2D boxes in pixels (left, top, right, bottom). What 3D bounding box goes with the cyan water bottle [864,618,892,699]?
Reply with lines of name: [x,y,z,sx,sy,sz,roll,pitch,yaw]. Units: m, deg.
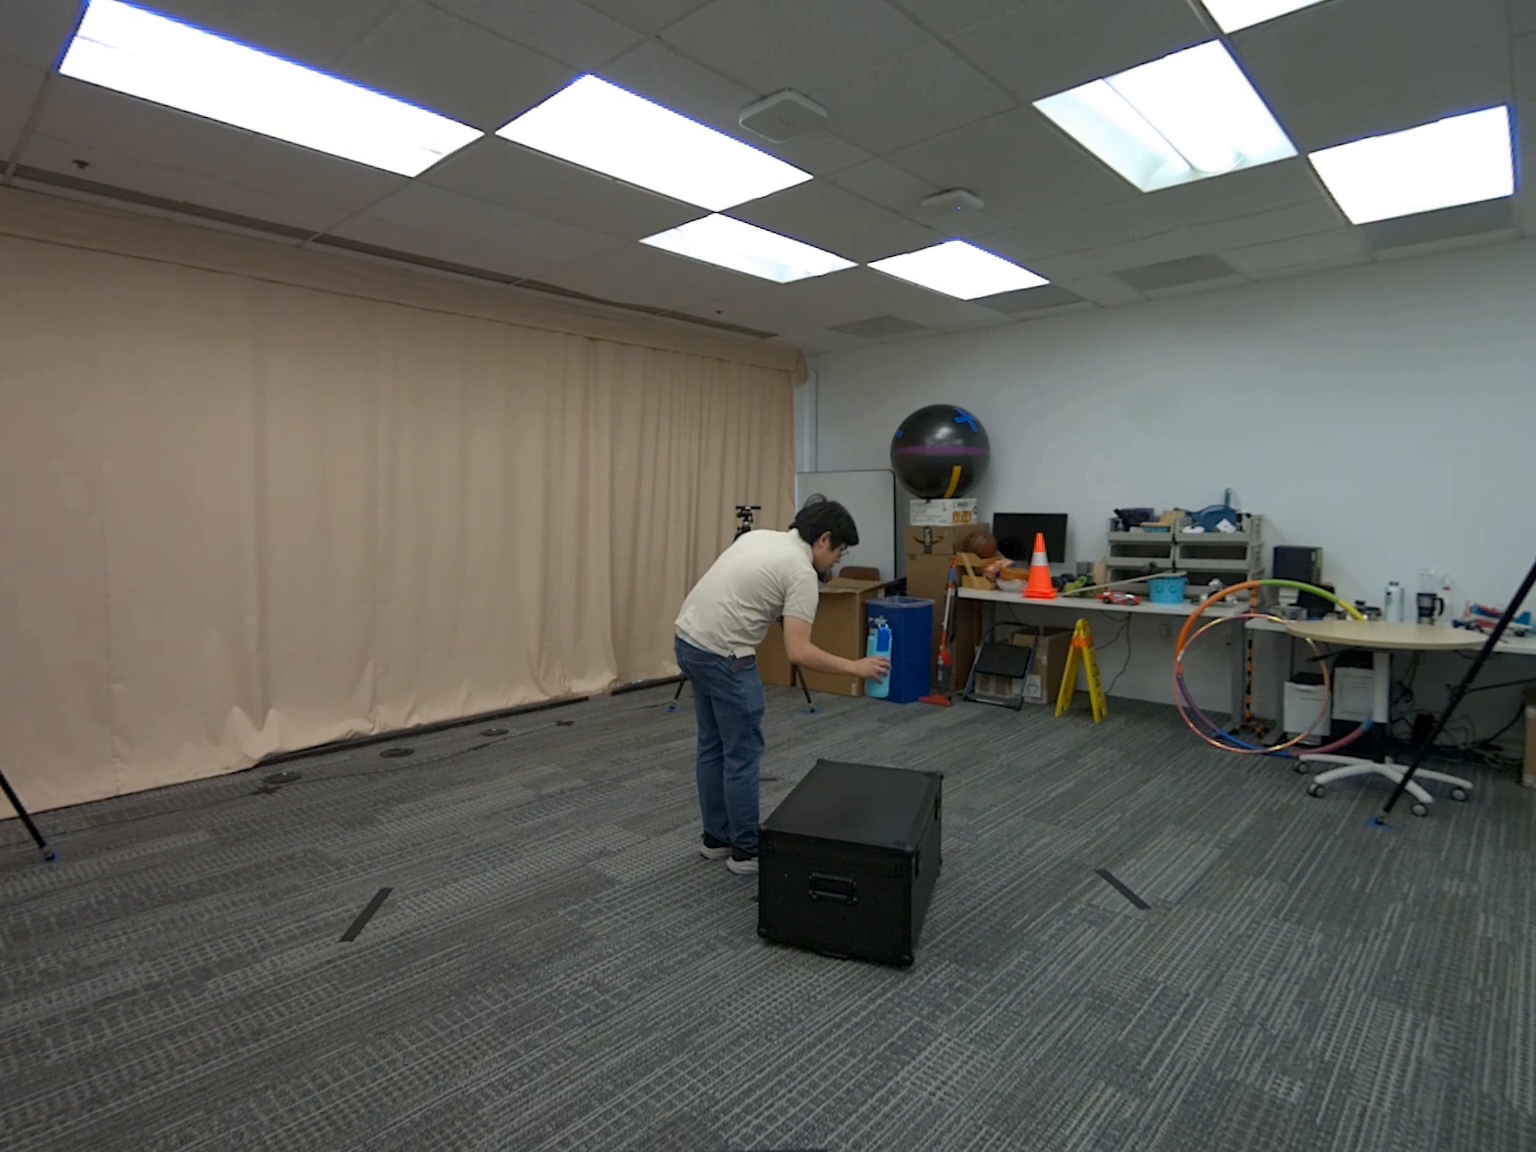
cyan water bottle: [0.424,0.312,3.168,0.092,0.282,0.093,4,8,-2]
